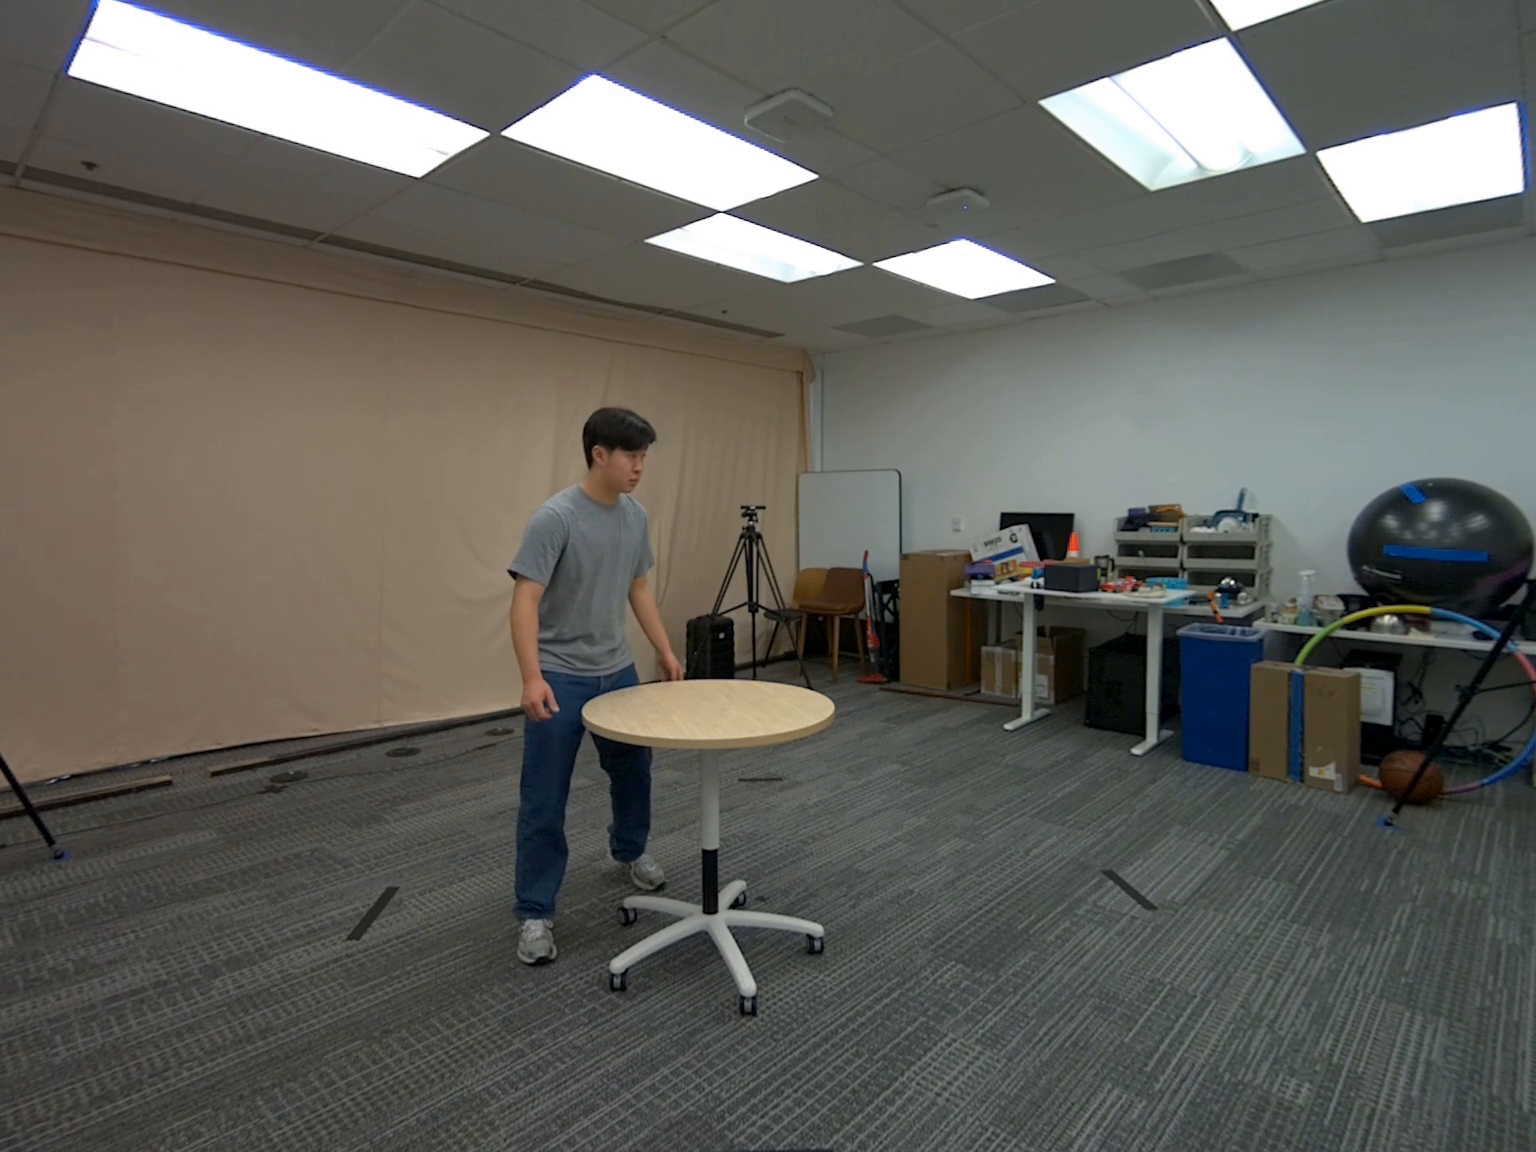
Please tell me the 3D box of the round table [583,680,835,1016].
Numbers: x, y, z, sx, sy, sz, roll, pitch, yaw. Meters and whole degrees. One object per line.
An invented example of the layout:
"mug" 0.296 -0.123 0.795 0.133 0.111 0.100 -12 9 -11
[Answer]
"round table" -0.170 0.787 2.584 0.763 0.792 0.766 -1 4 -2
